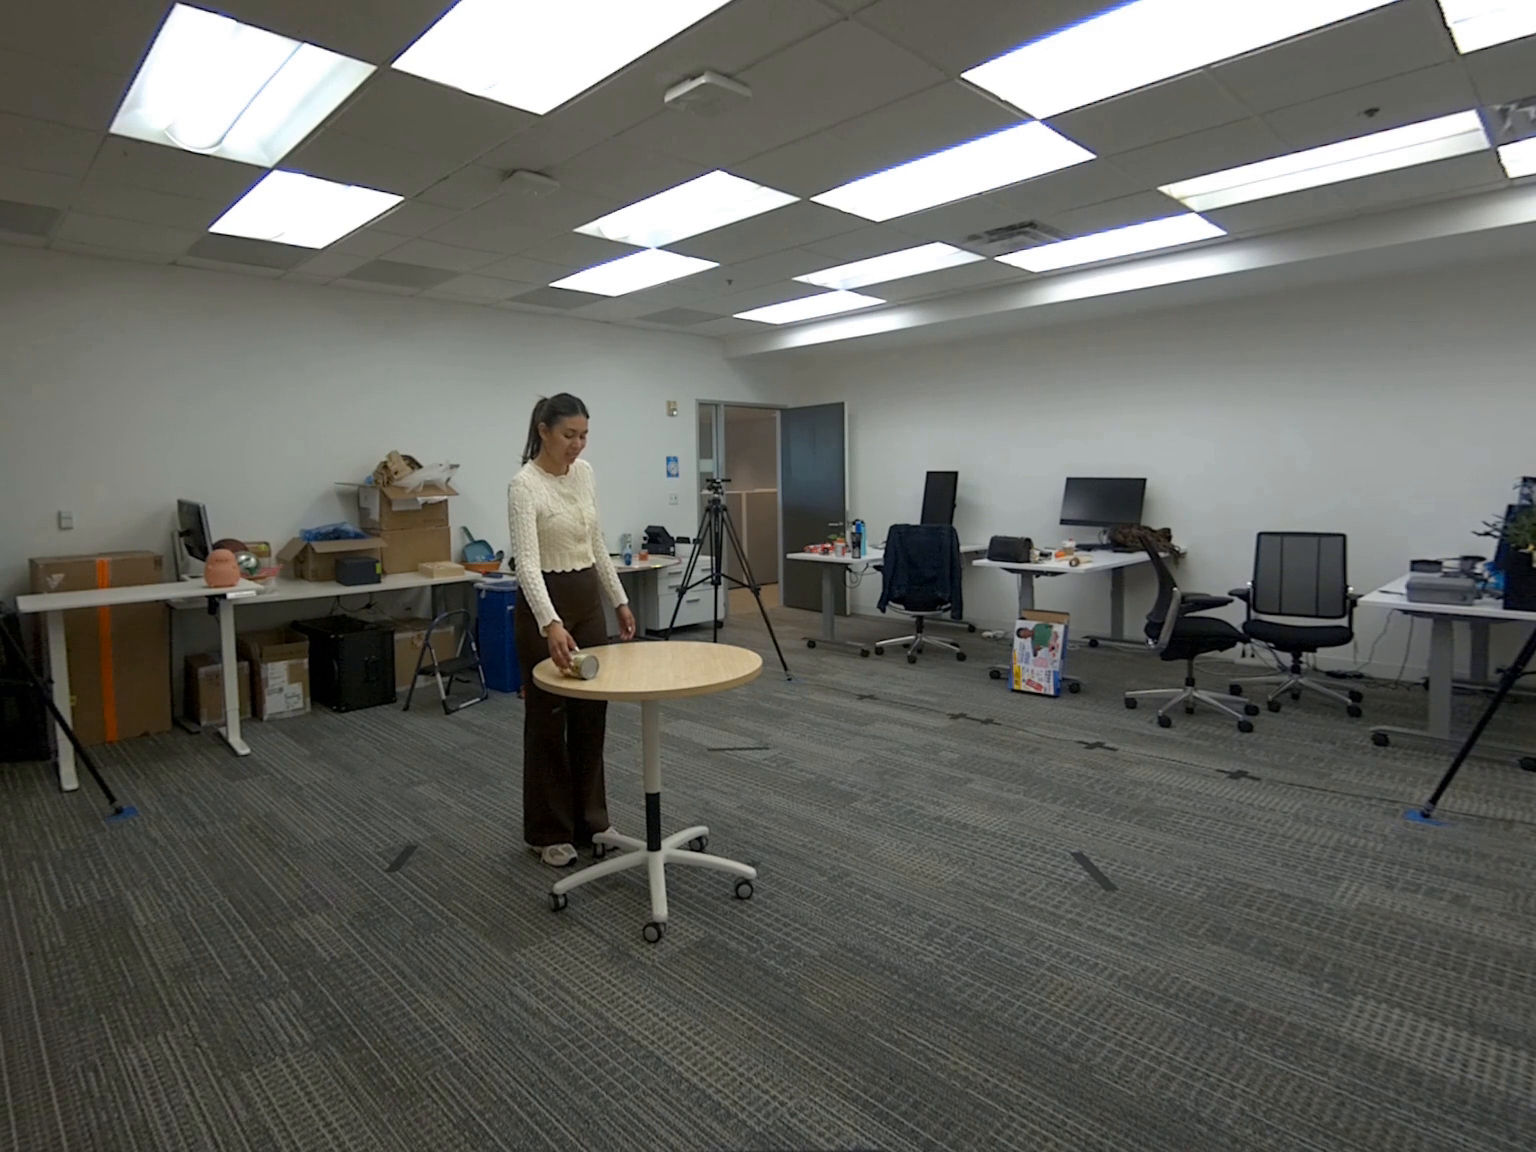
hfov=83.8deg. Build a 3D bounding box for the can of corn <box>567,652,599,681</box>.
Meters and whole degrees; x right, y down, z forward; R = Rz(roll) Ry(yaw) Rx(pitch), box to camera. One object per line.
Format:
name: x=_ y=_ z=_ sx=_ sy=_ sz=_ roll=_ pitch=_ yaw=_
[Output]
can of corn: x=-0.593 y=0.279 z=2.704 sx=0.114 sy=0.074 sz=0.072 roll=-1 pitch=4 yaw=32
